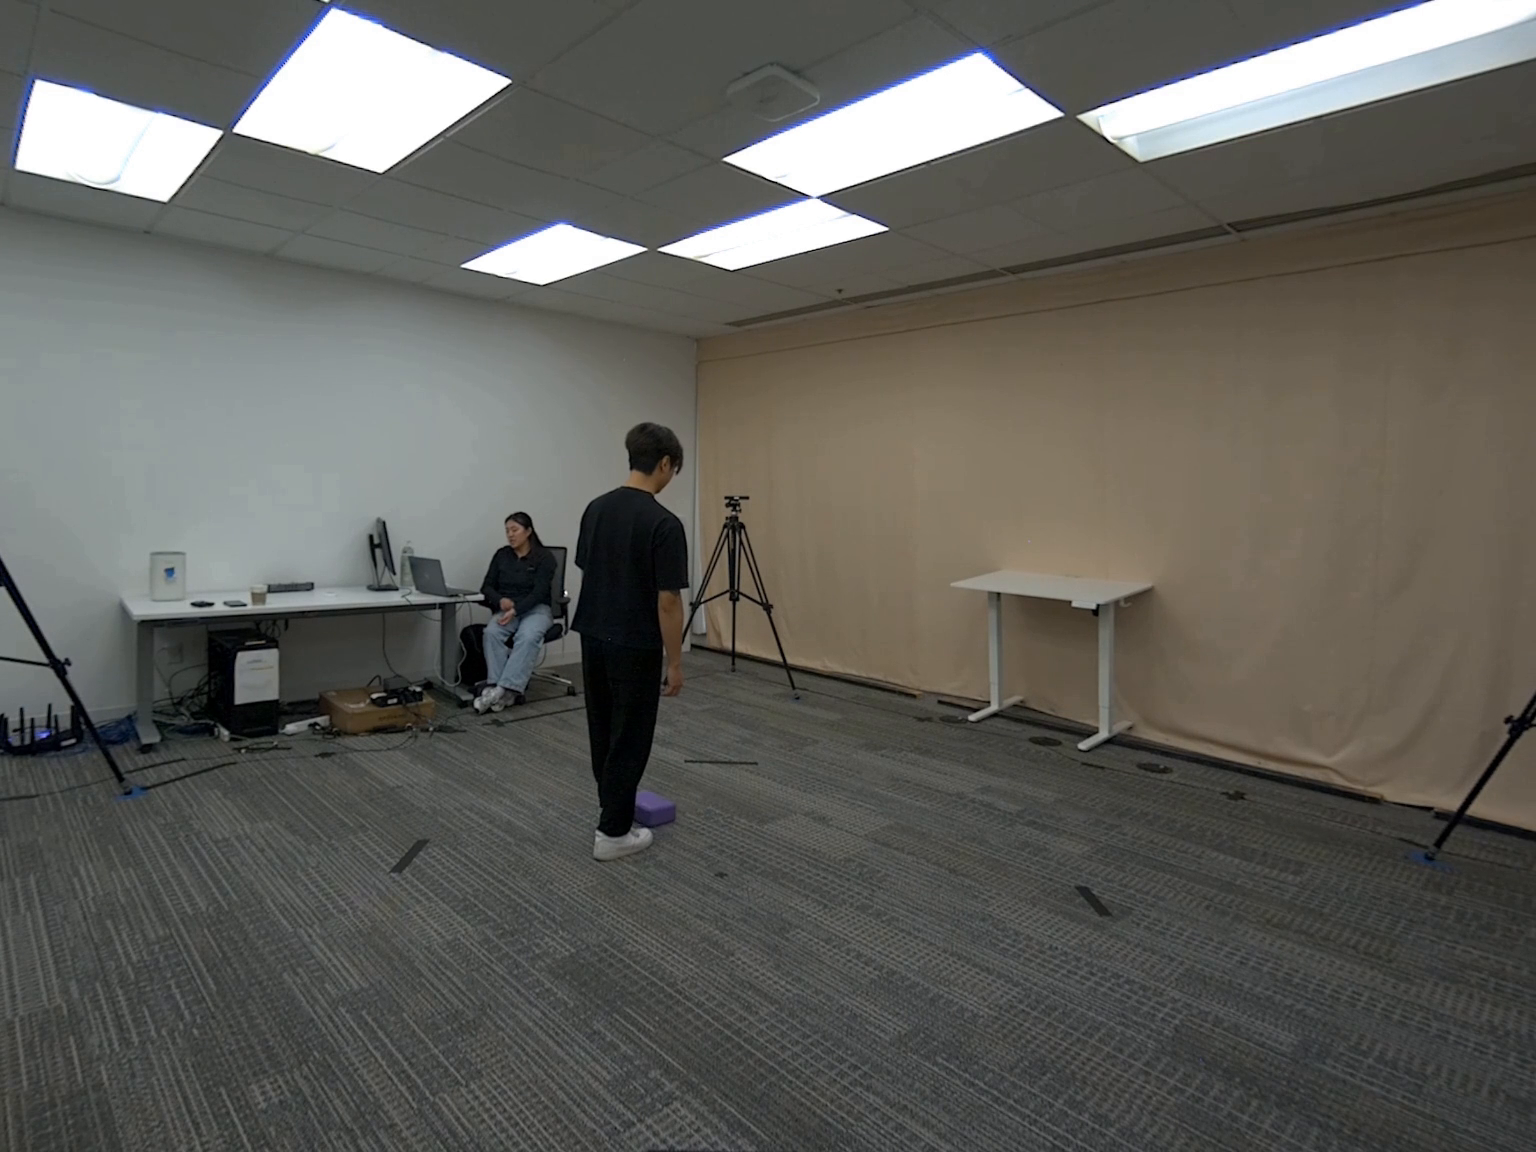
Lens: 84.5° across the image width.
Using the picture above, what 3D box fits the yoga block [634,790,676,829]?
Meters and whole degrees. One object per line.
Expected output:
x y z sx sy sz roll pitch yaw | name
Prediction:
-0.536 1.003 3.645 0.145 0.076 0.235 0 5 -43 | yoga block
